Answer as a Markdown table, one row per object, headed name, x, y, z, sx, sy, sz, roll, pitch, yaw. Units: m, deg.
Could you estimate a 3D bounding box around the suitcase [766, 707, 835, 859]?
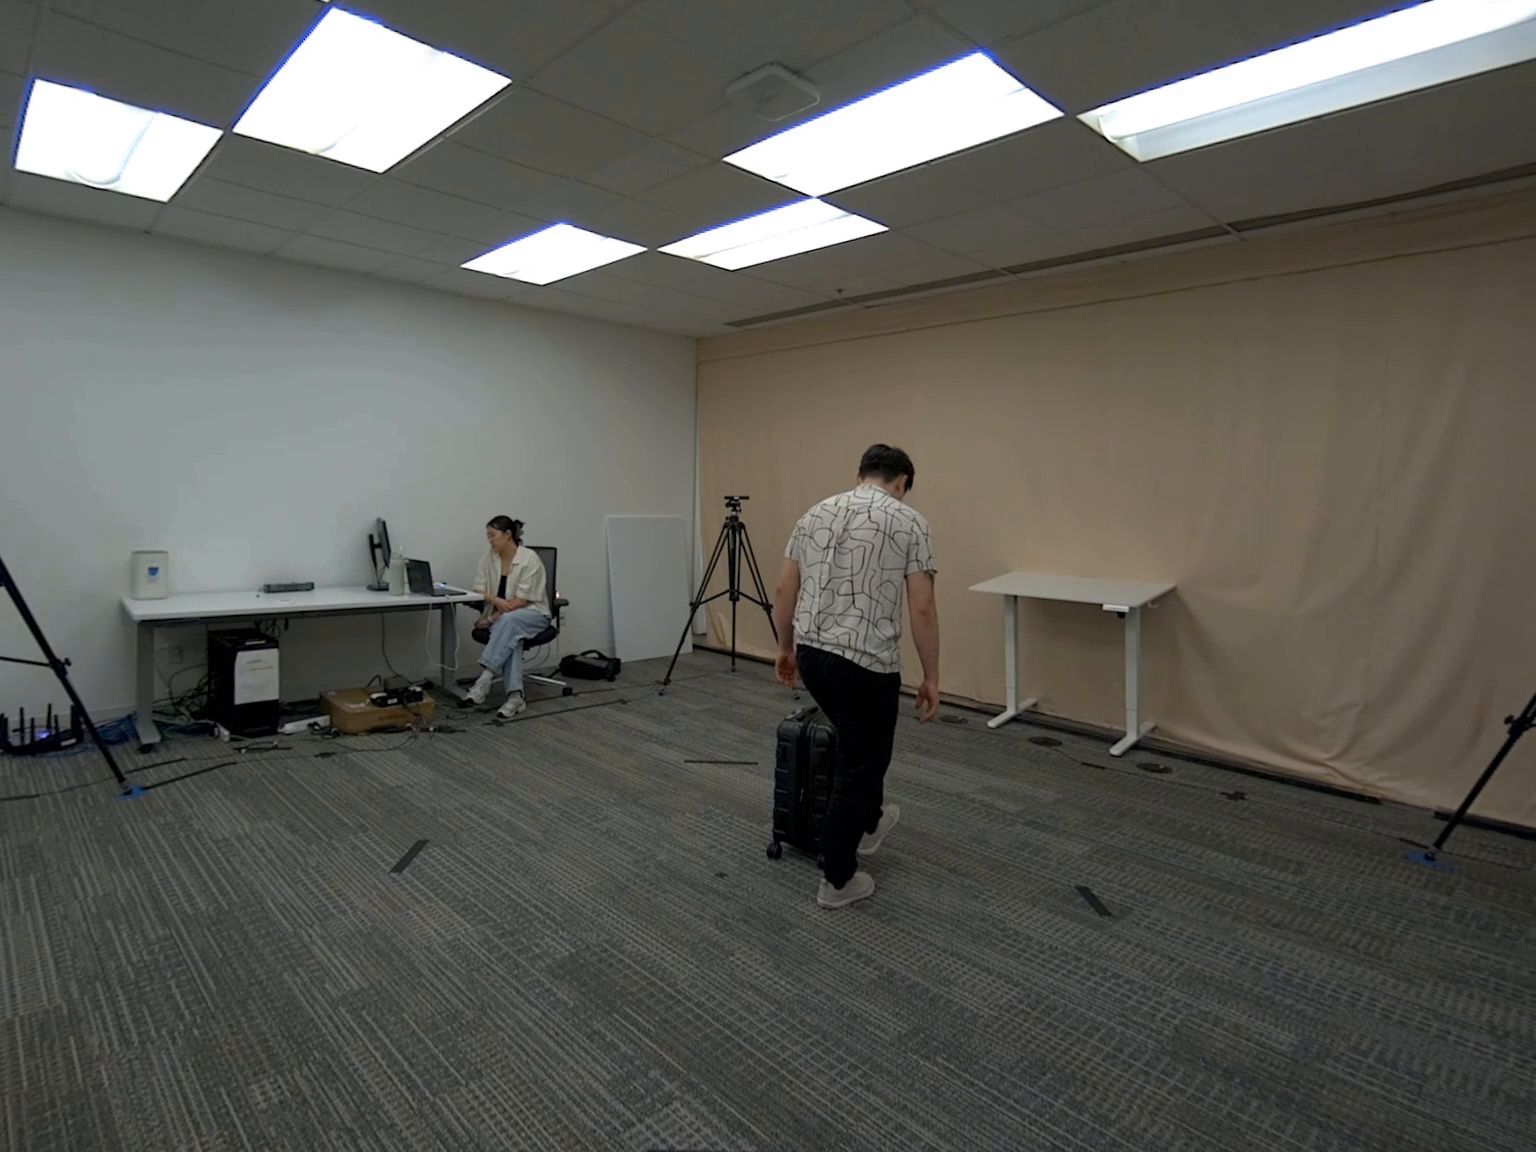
| name | x | y | z | sx | sy | sz | roll | pitch | yaw |
| --- | --- | --- | --- | --- | --- | --- | --- | --- | --- |
| suitcase | 0.184 | 0.811 | 3.361 | 0.253 | 0.549 | 0.369 | 3 | 2 | 23 |
